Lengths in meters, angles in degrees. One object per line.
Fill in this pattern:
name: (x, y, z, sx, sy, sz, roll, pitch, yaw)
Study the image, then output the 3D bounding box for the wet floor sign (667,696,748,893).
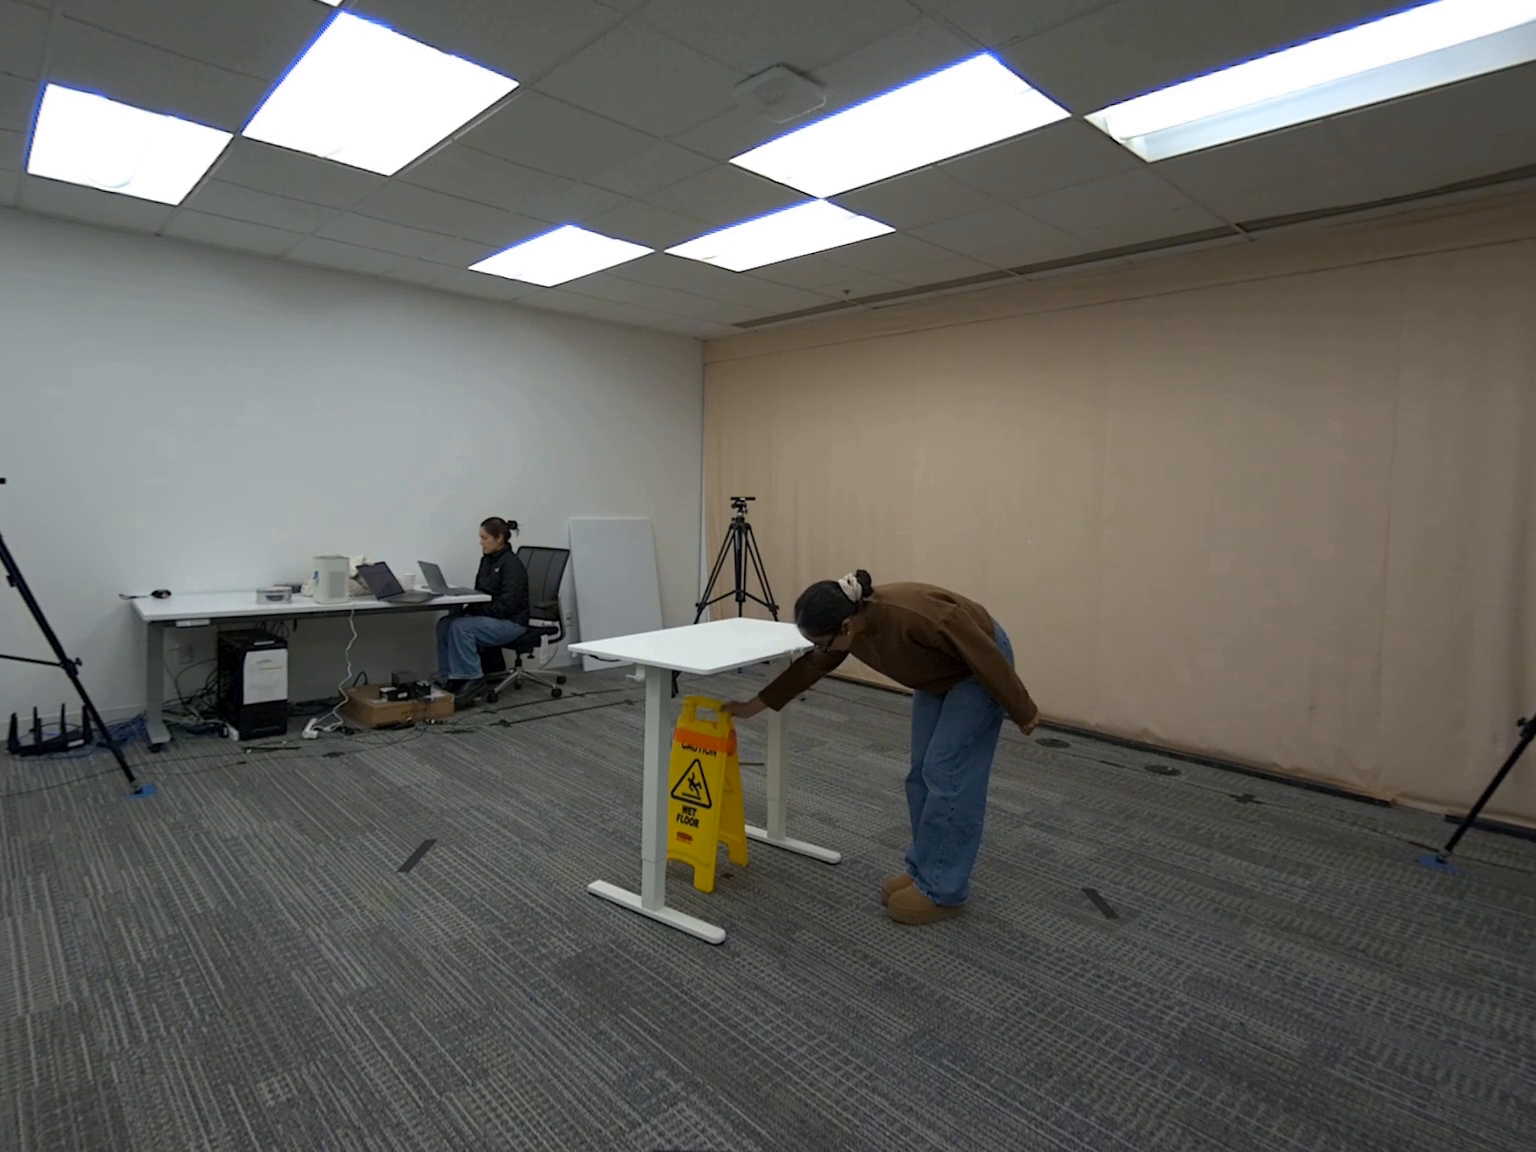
wet floor sign: (-0.245, 0.775, 3.130, 0.288, 0.644, 0.284, 6, 4, 27)
